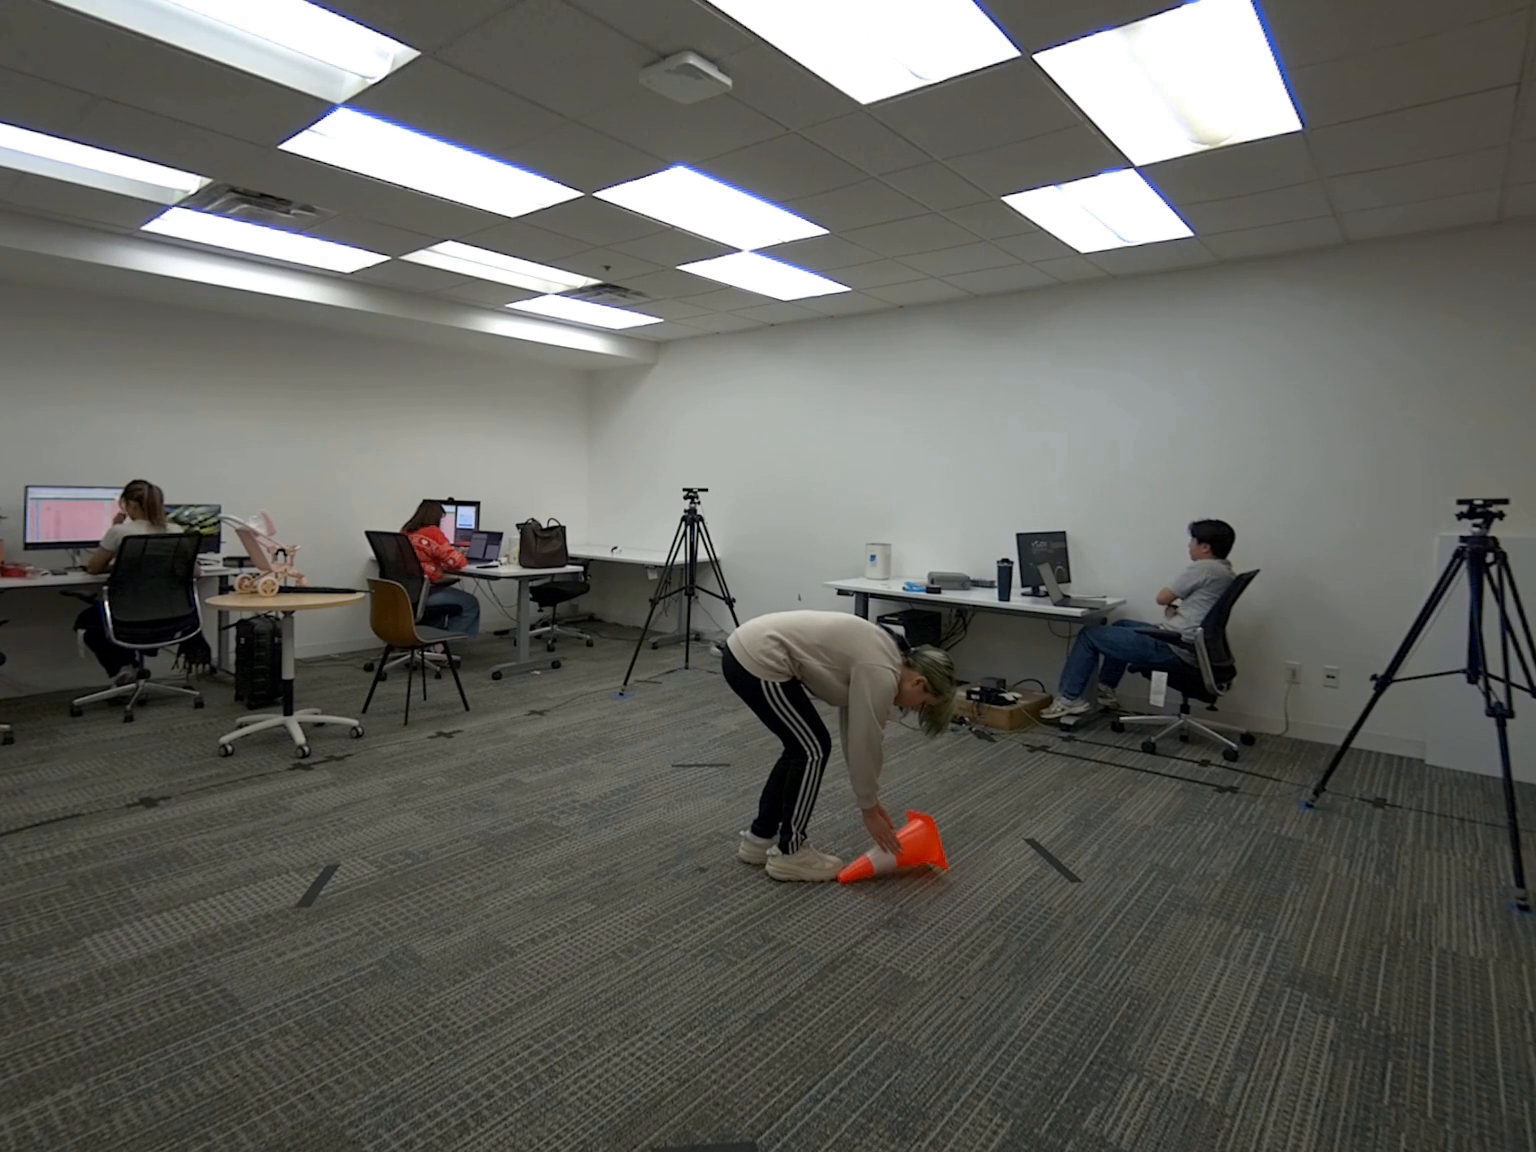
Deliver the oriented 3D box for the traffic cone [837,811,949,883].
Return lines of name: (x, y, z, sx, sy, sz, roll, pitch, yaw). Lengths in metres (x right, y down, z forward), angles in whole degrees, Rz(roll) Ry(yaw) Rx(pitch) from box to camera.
traffic cone: (0.416, 1.028, 3.082, 0.378, 0.204, 0.208, -16, 7, -20)
